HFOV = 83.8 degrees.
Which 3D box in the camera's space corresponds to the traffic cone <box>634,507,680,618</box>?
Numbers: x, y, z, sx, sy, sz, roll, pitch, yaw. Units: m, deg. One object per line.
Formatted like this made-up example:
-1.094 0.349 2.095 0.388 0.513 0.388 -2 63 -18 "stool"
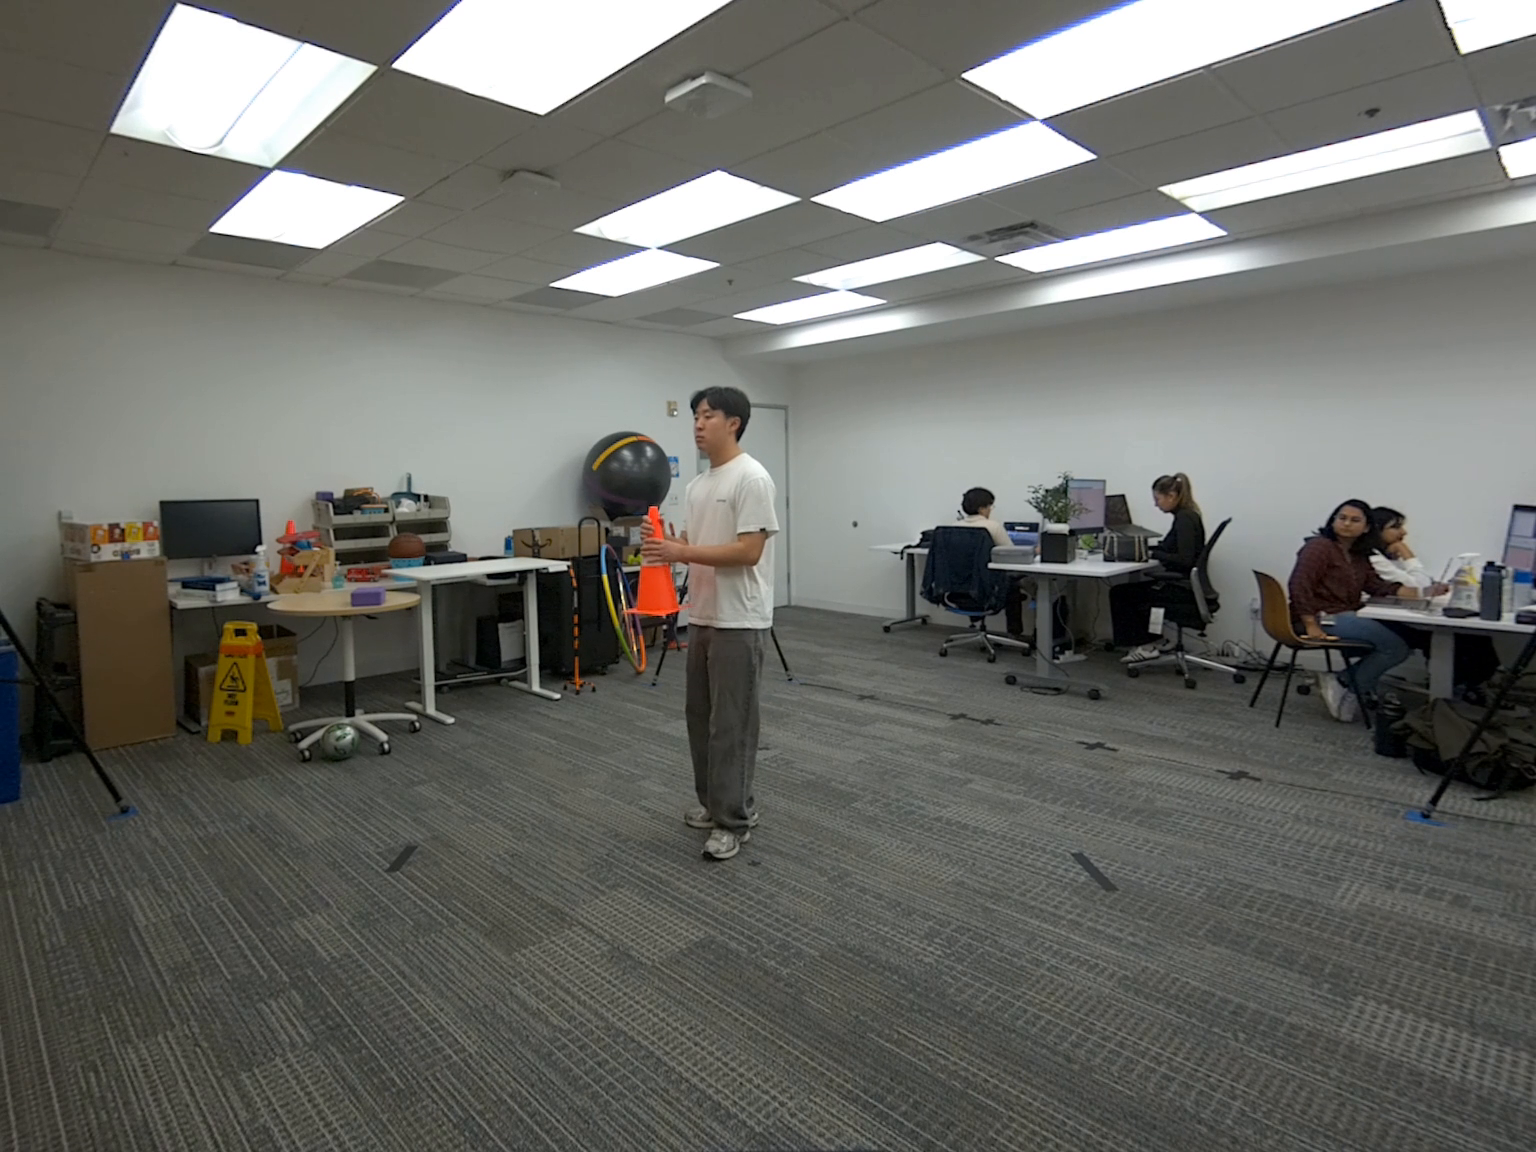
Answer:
-0.420 -0.065 3.164 0.208 0.383 0.201 -3 1 13 "traffic cone"
